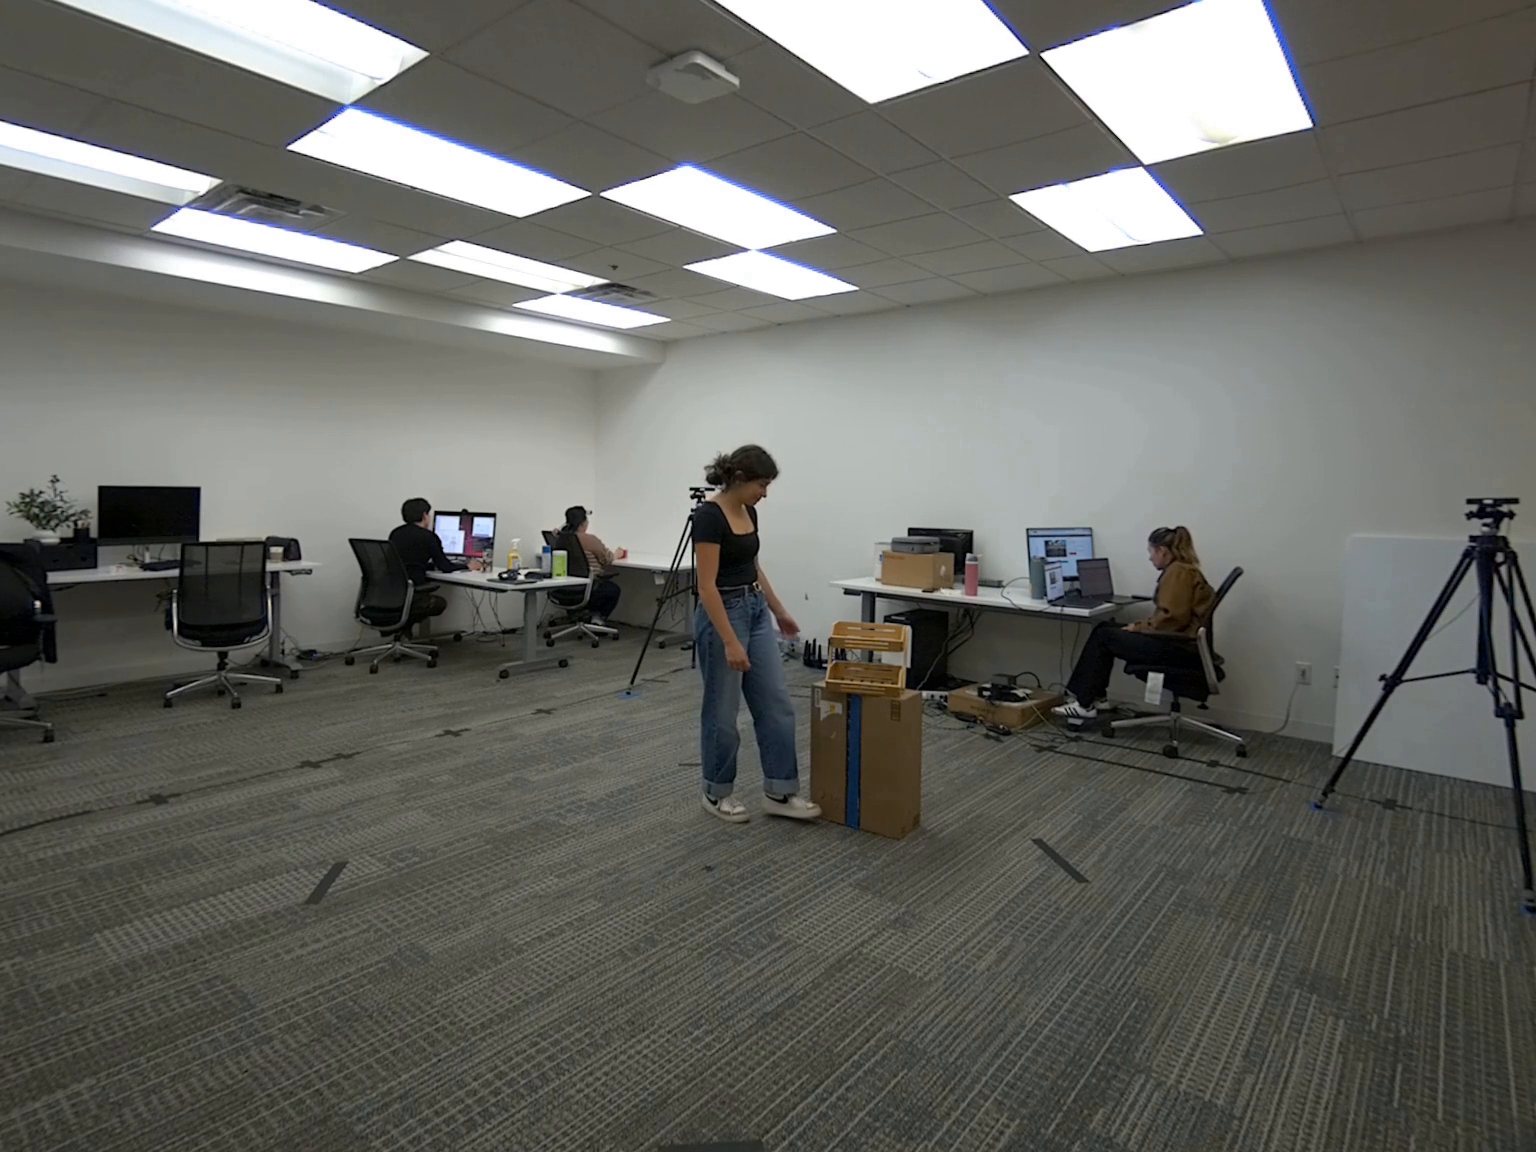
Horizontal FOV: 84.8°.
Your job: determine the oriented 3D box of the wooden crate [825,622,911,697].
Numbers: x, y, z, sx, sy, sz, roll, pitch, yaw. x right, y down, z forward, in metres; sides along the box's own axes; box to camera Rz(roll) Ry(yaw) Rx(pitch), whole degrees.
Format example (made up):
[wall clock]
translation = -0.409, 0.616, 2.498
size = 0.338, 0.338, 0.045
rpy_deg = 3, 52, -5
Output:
[wooden crate]
translation = 0.403, 0.336, 3.559
size = 0.330, 0.273, 0.297
rpy_deg = 3, 1, 13
